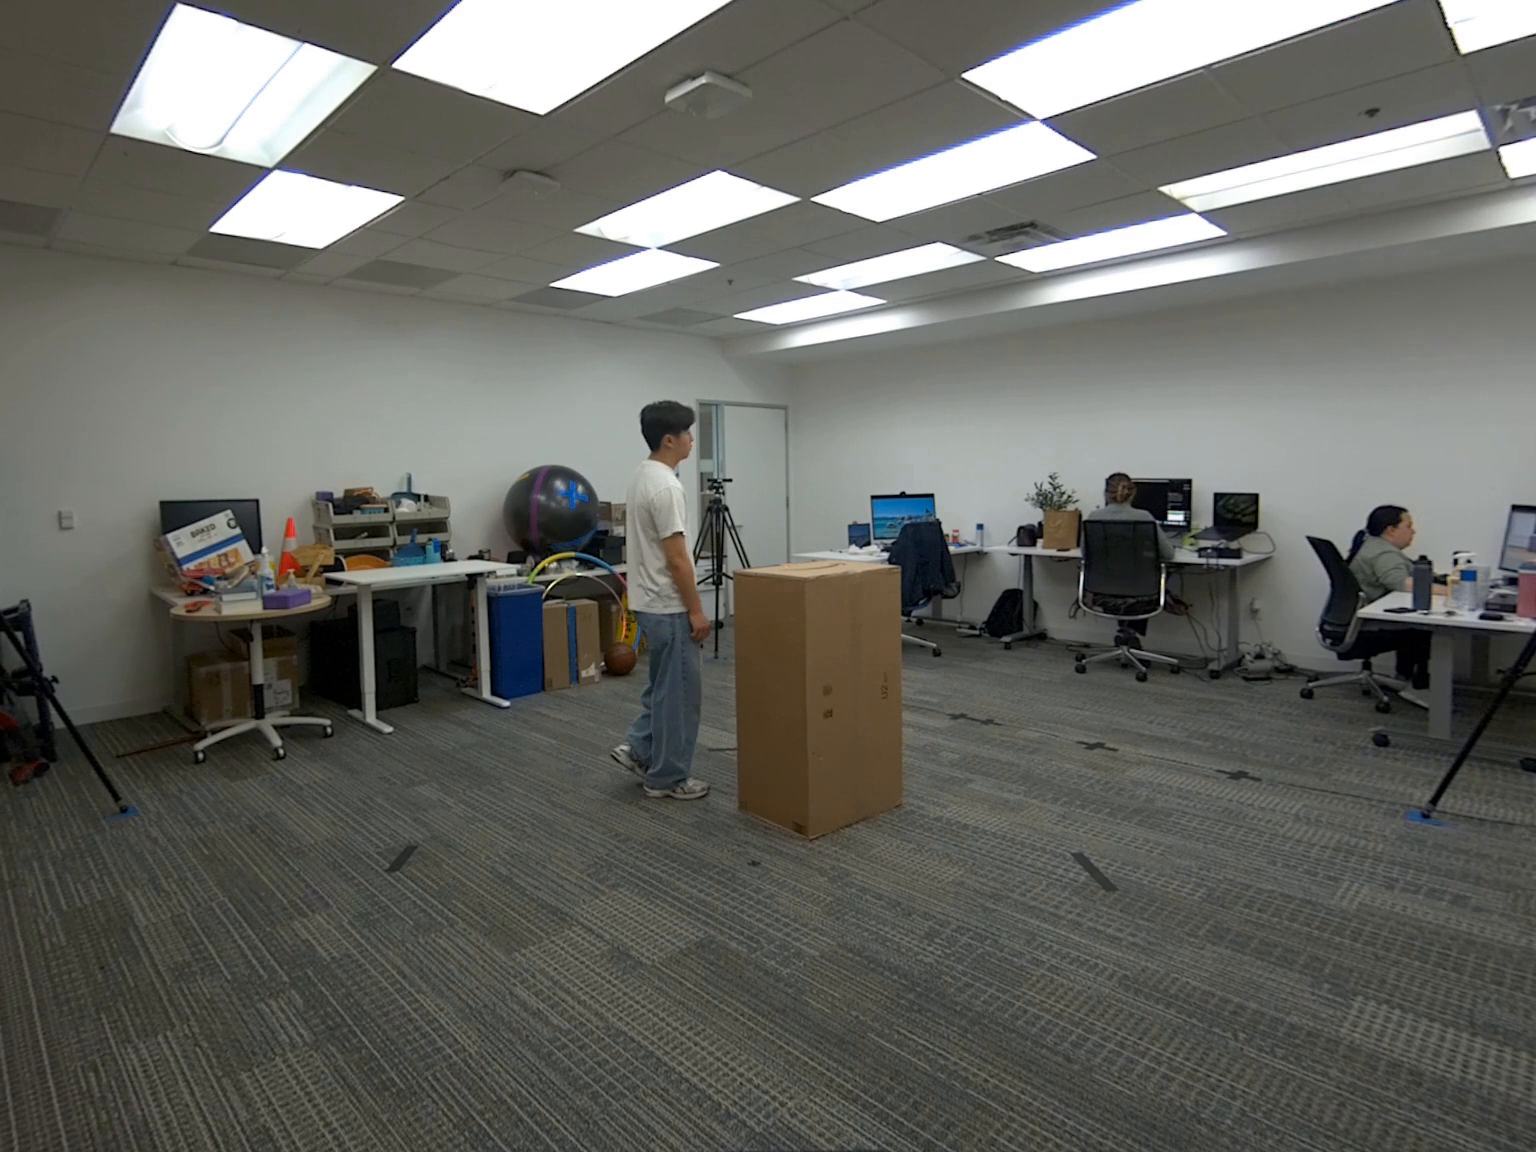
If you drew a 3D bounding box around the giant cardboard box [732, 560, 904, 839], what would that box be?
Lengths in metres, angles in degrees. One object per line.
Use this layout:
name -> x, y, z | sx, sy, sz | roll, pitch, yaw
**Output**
giant cardboard box -> 0.210, 0.475, 3.595 | 0.562, 1.022, 0.439 | -5, 5, -40
